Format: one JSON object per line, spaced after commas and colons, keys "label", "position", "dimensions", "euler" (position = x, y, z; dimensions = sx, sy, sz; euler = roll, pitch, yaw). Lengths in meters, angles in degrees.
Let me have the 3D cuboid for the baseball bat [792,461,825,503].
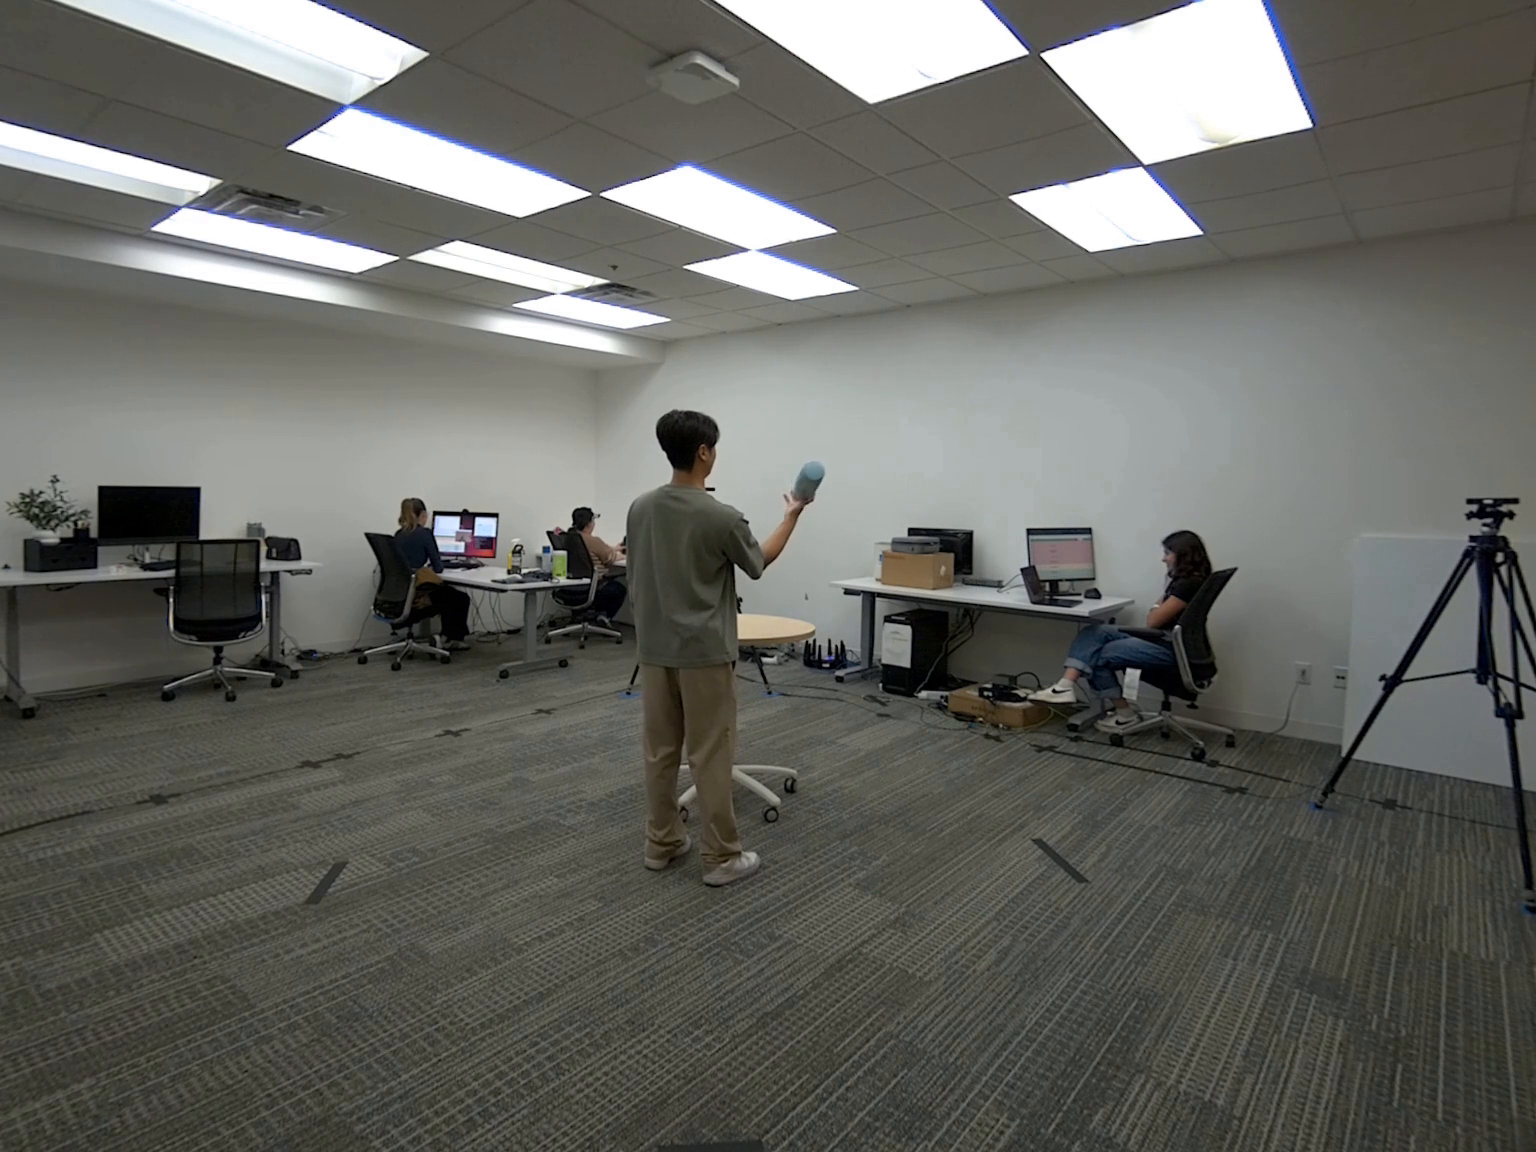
{"label": "baseball bat", "position": [0.121, -0.325, 3.370], "dimensions": [0.088, 0.090, 0.537], "euler": [1, -15, -6]}
